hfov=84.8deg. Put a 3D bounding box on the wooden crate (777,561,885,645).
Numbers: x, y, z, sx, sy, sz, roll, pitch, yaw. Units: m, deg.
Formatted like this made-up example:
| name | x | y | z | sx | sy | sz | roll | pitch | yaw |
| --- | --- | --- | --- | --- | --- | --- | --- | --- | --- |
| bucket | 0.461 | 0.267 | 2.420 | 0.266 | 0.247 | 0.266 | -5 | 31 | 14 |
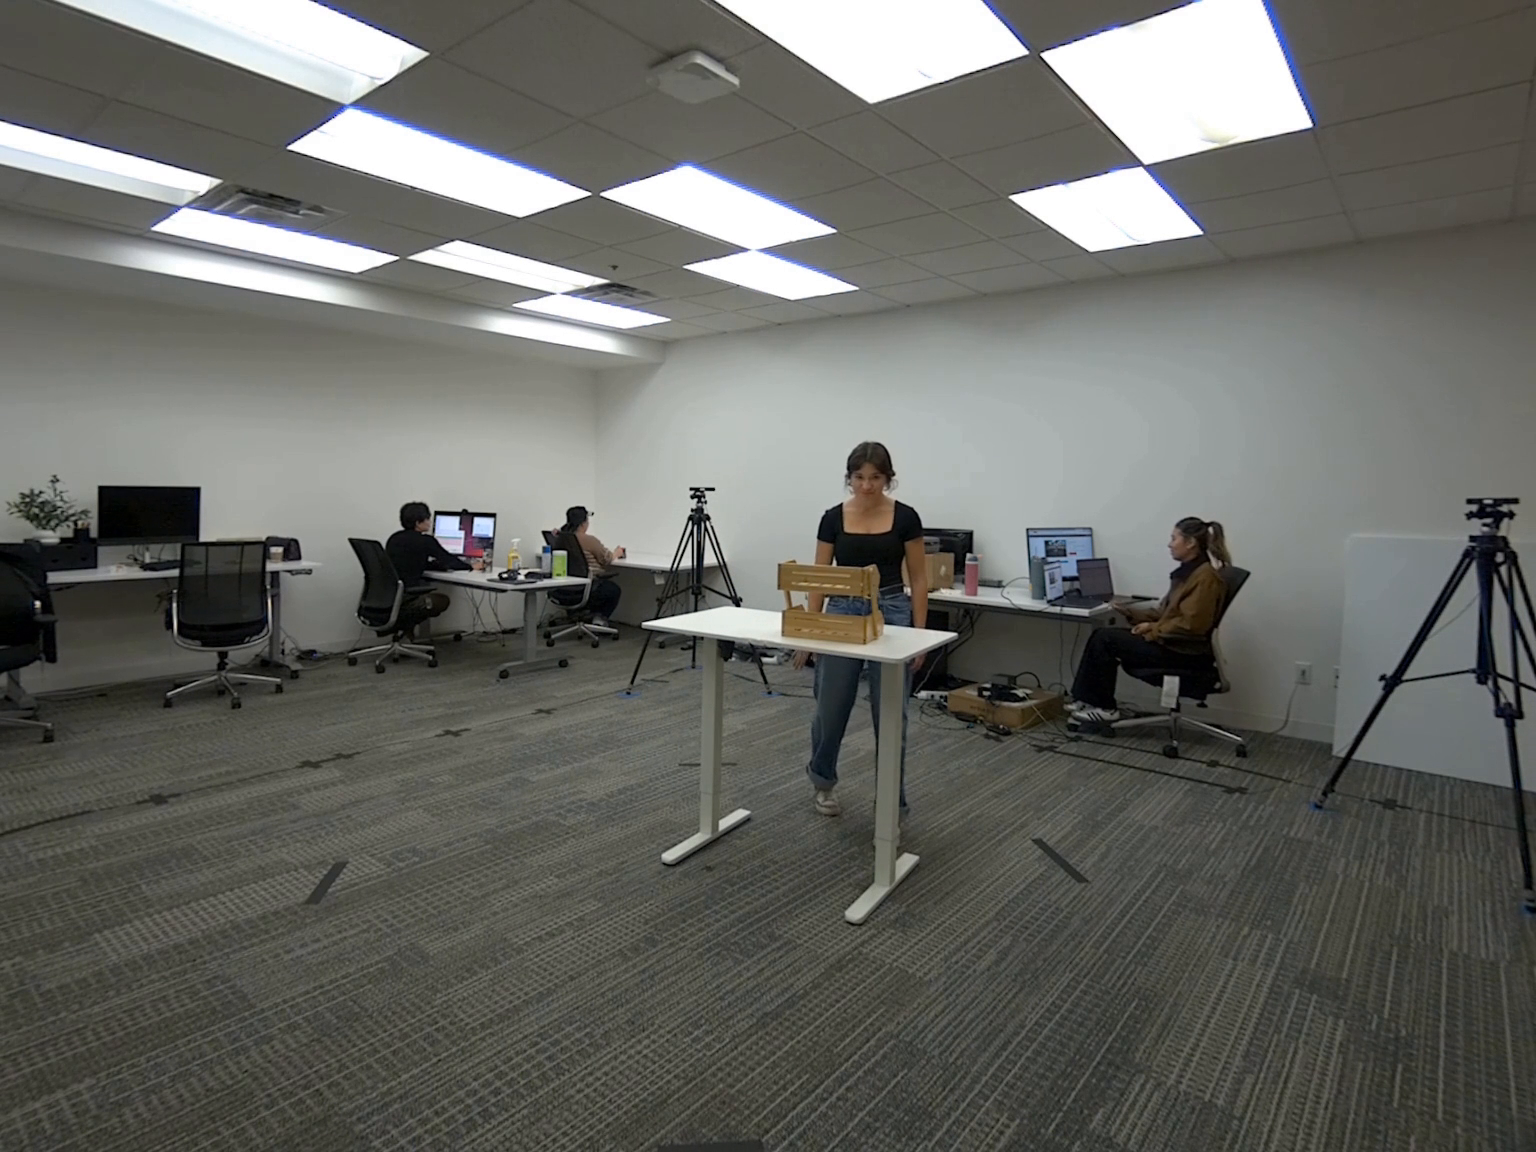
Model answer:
| name | x | y | z | sx | sy | sz | roll | pitch | yaw |
| --- | --- | --- | --- | --- | --- | --- | --- | --- | --- |
| wooden crate | 0.217 | 0.075 | 2.973 | 0.332 | 0.272 | 0.296 | 3 | 6 | 23 |
